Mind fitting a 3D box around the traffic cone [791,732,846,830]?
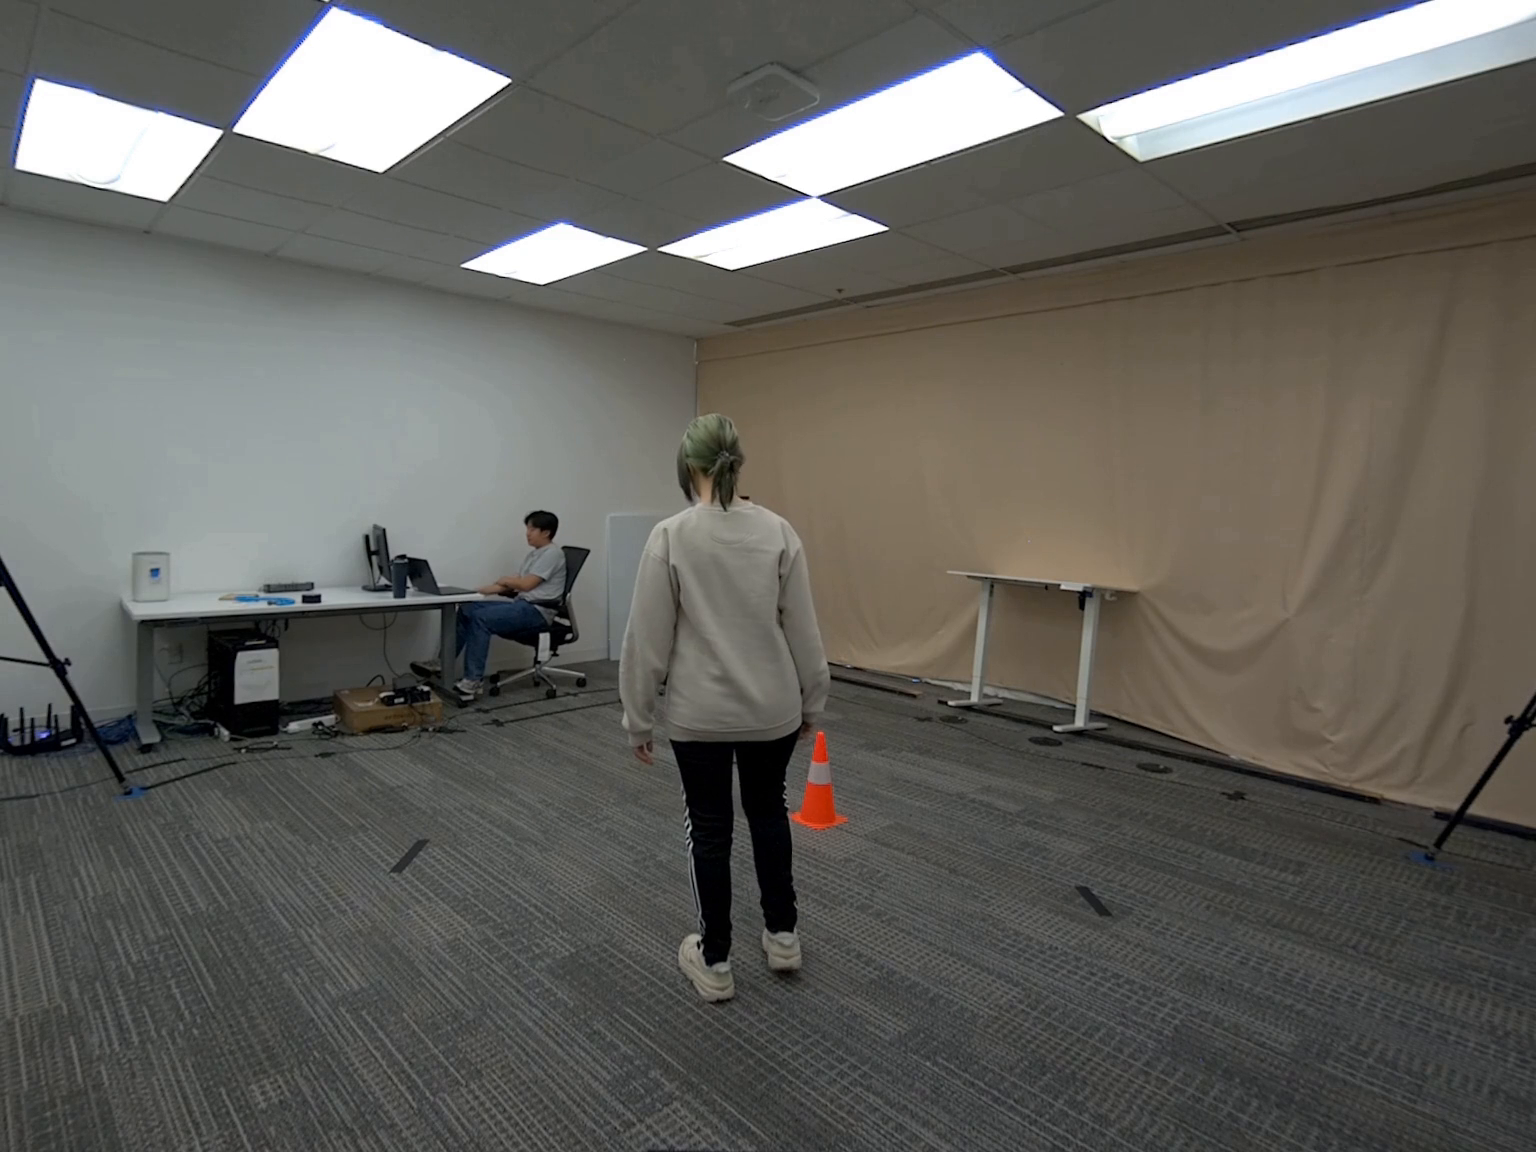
[{"bbox_3d":[0.219,0.877,3.681,0.199,0.383,0.210,-1,5,-41],"label":"traffic cone"}]
